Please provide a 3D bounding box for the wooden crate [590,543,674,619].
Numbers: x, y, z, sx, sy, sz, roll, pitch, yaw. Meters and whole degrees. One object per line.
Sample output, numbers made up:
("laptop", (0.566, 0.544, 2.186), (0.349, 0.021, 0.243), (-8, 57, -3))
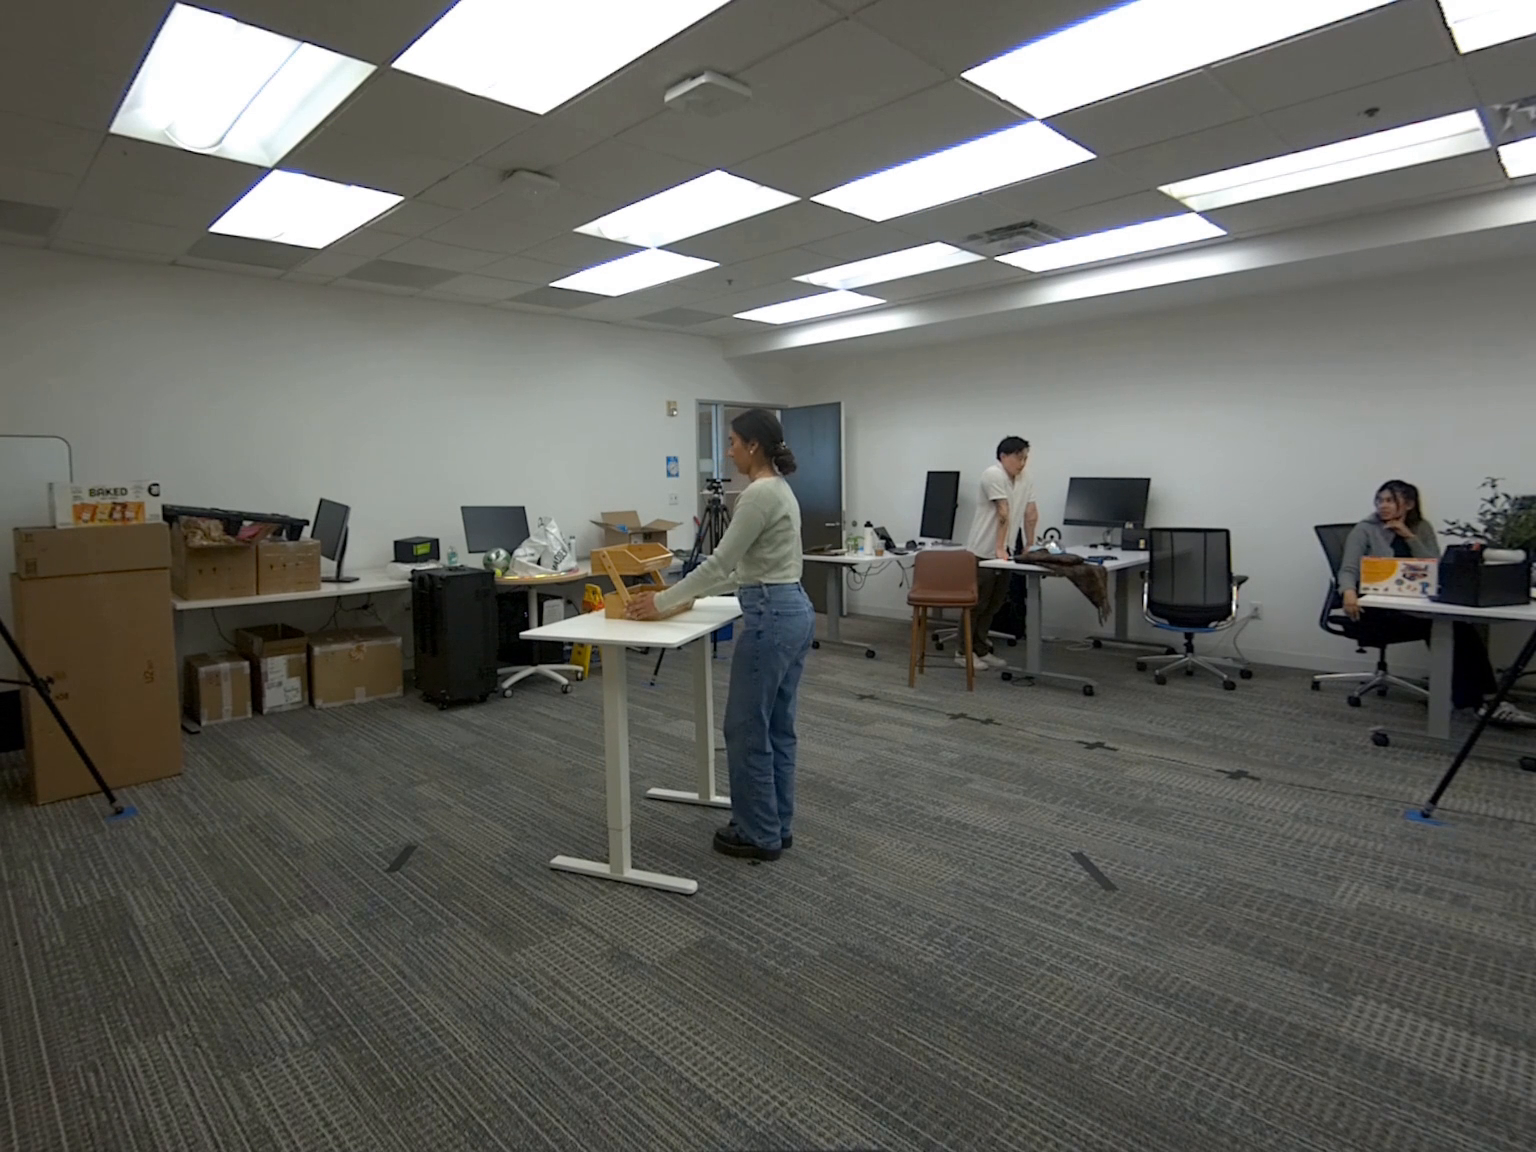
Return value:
("wooden crate", (-0.469, 0.012, 3.316), (0.308, 0.272, 0.319), (-1, 5, 21))
